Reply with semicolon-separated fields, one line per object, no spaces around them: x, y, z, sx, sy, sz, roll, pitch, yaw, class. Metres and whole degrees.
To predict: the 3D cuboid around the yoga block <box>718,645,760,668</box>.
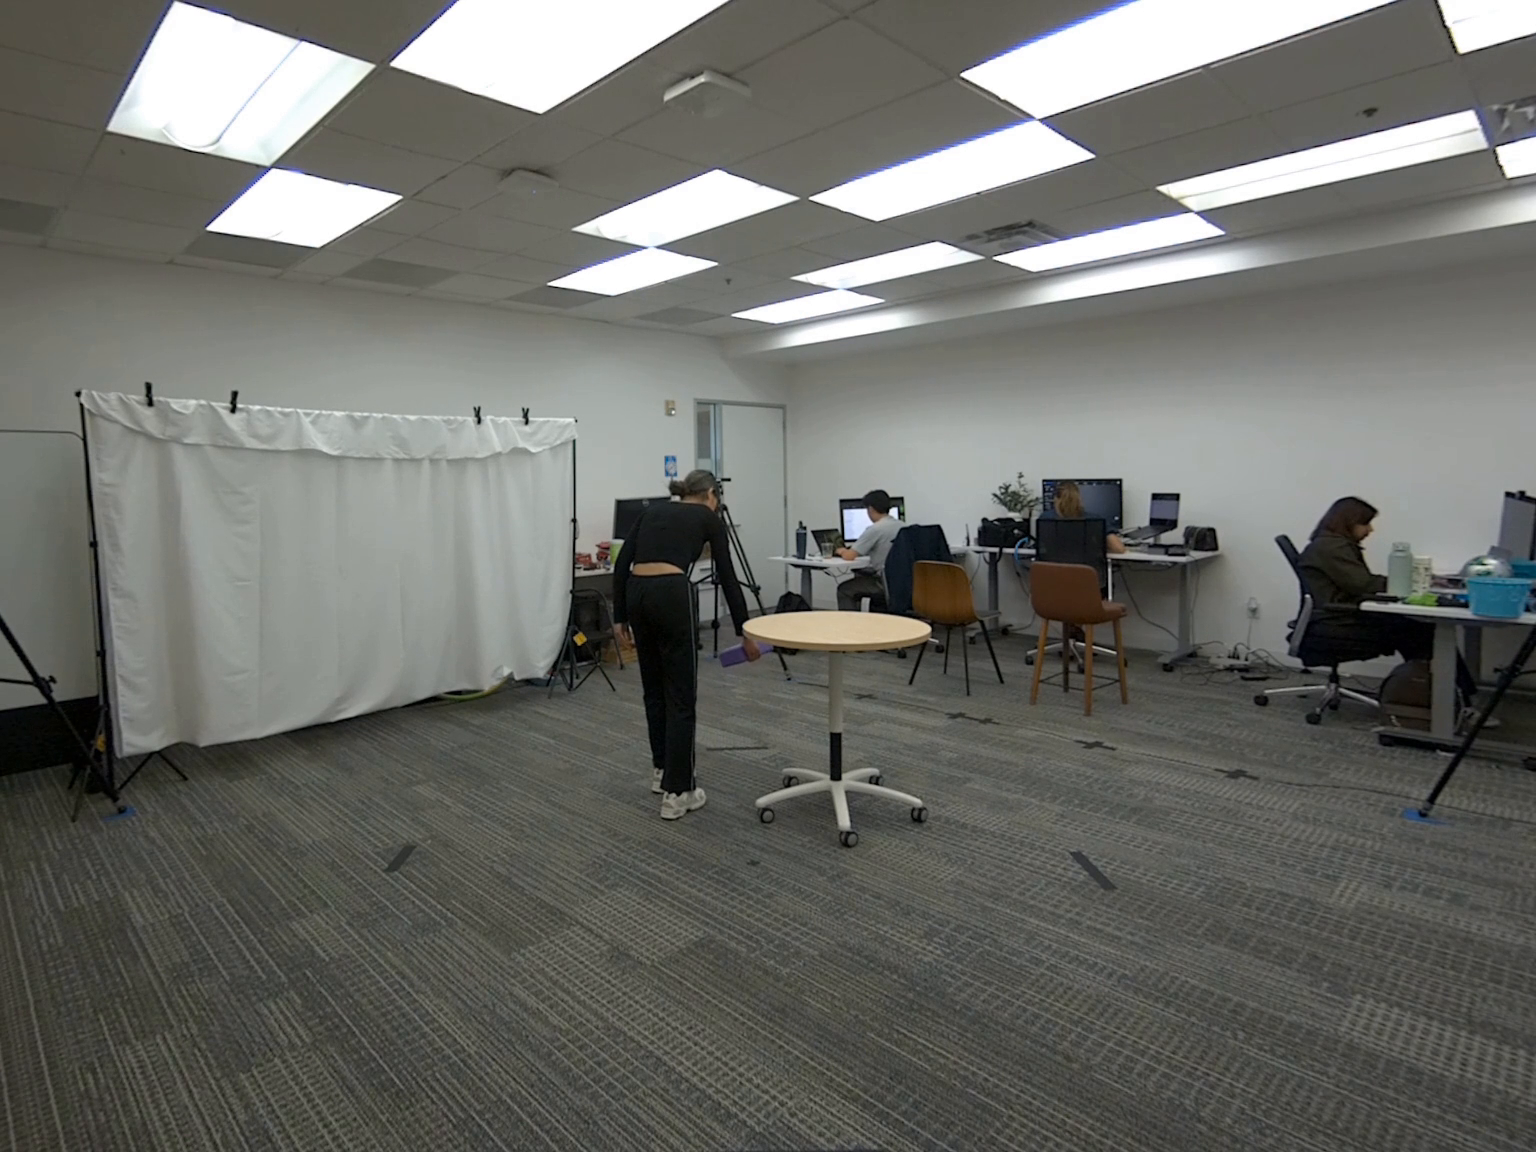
-0.109;0.357;4.045;0.152;0.077;0.224;-17;-2;39;yoga block
